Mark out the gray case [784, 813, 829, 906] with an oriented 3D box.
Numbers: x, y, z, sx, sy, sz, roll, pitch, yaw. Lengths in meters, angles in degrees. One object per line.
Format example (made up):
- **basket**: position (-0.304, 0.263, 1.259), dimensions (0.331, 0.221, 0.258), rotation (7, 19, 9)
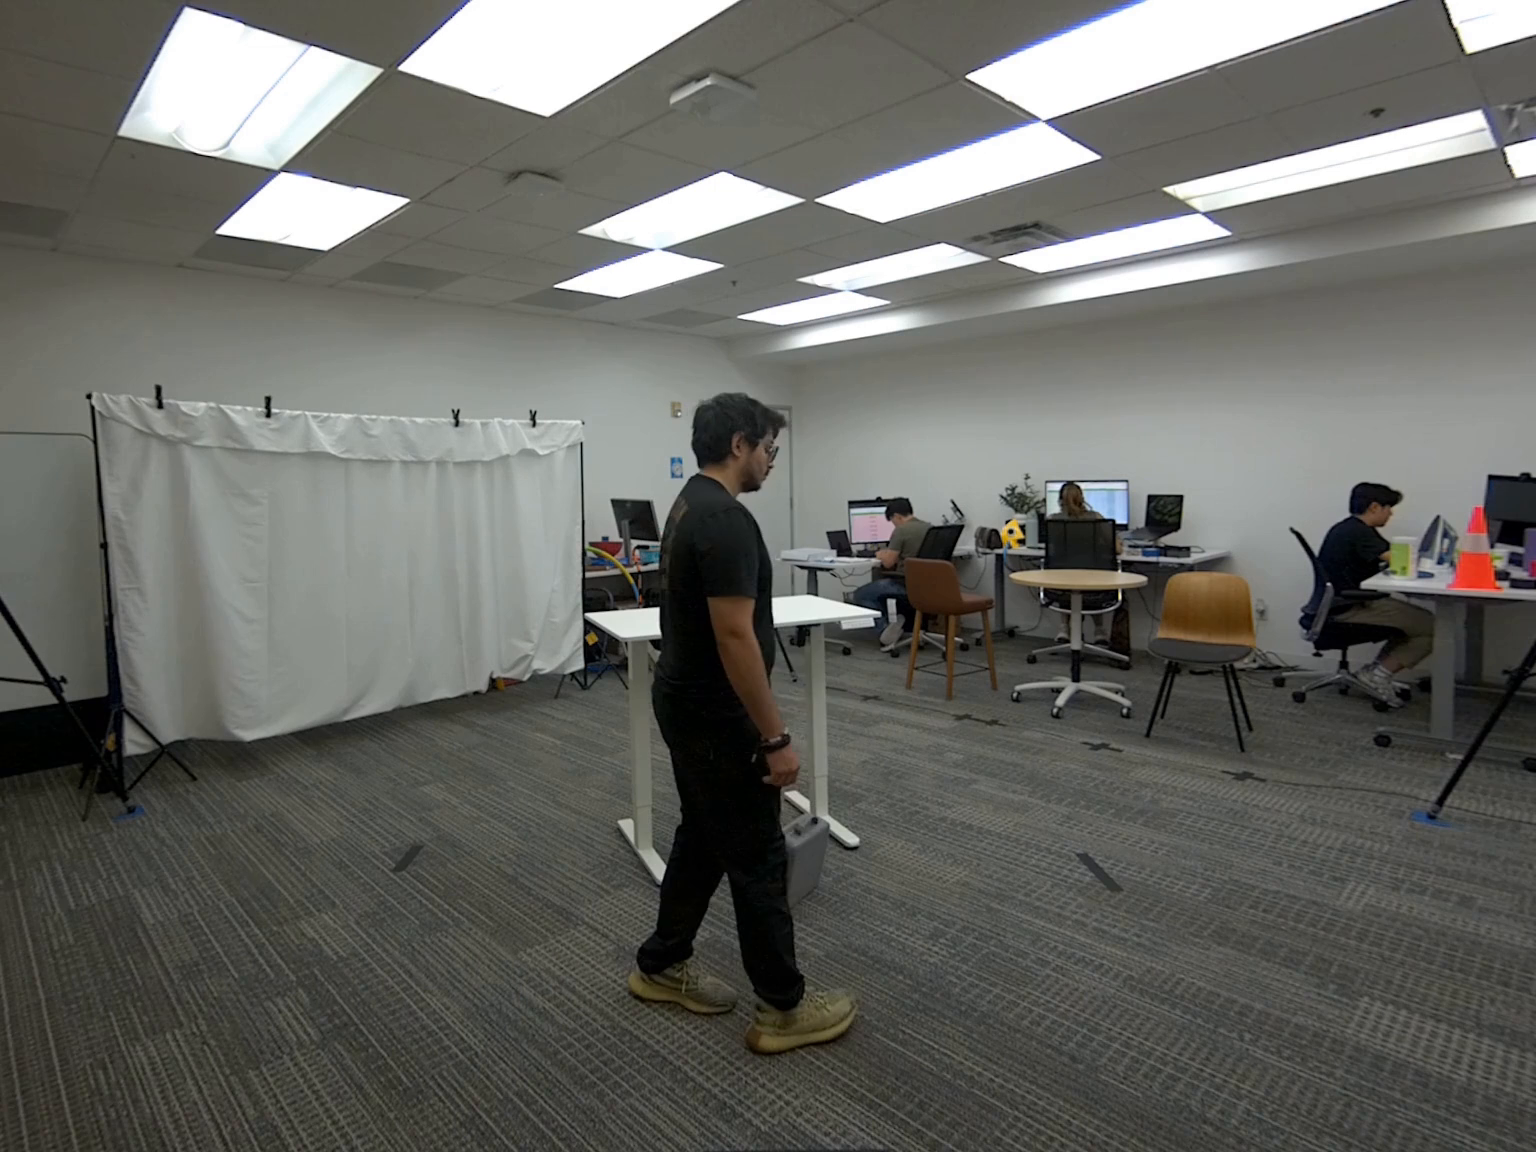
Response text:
- **gray case**: position (0.101, 0.944, 2.841), dimensions (0.108, 0.259, 0.251), rotation (14, 12, 32)
